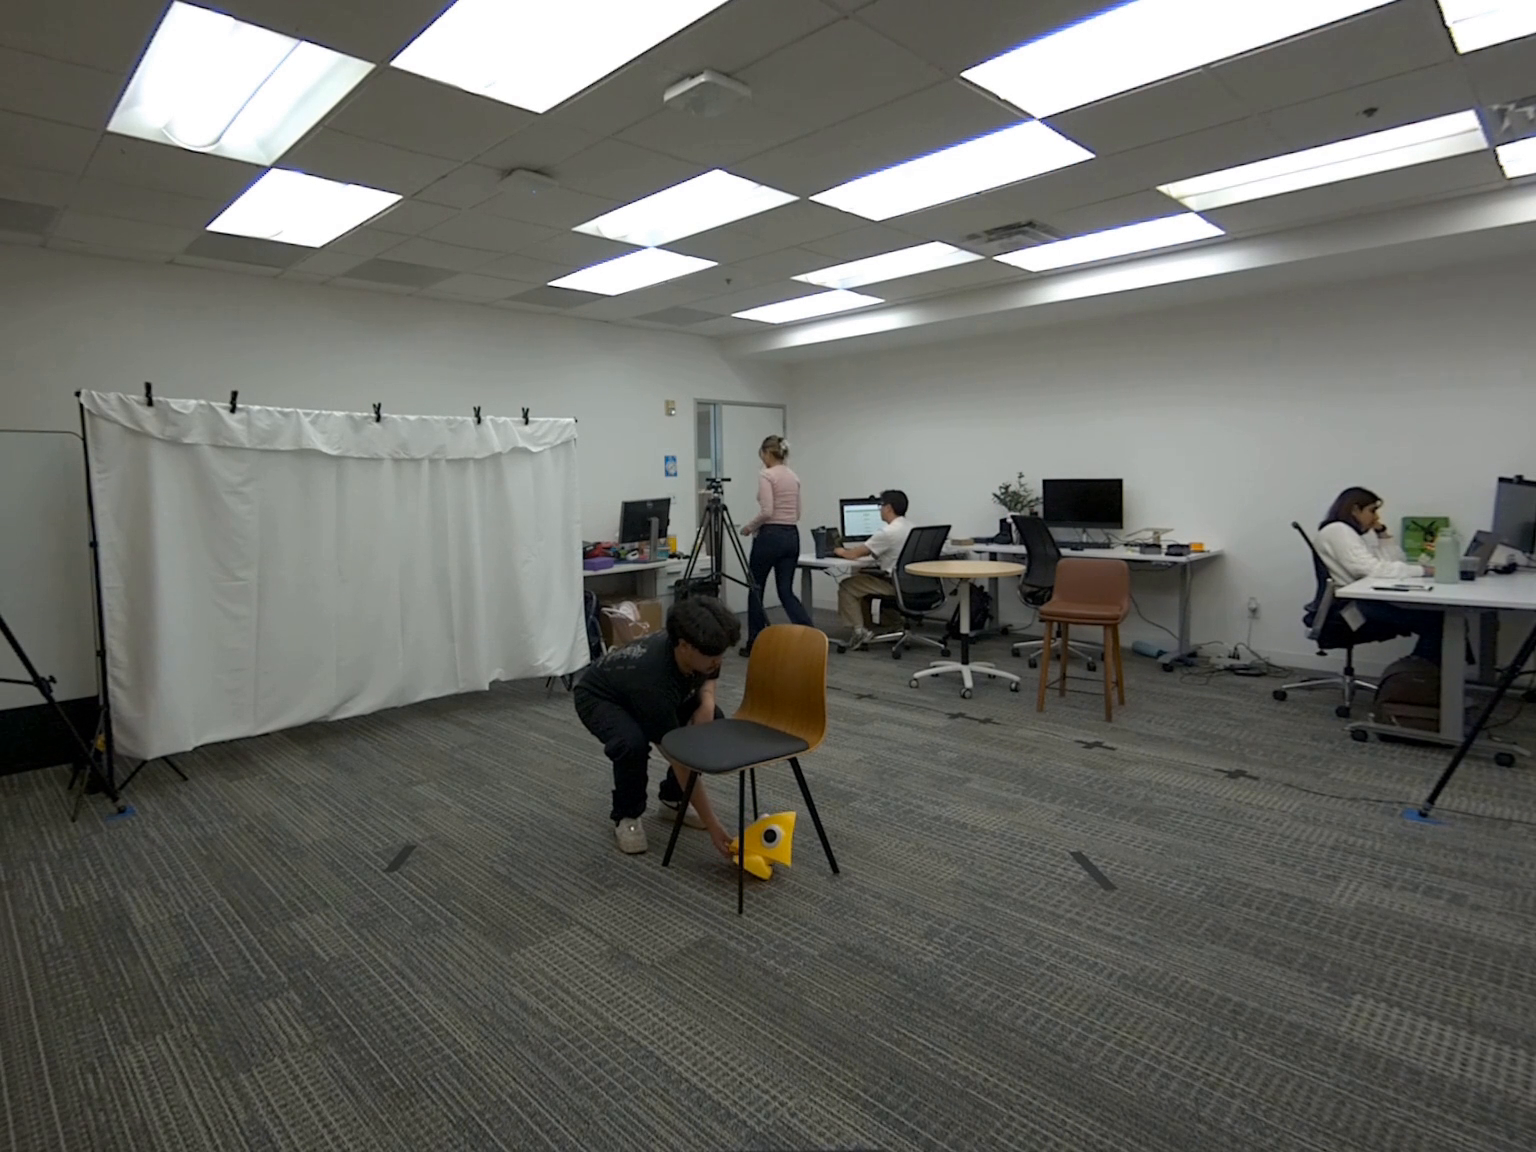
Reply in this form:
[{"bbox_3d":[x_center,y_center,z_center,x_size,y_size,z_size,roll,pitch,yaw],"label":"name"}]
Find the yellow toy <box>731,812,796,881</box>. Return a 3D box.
[{"bbox_3d":[-0.009,0.919,3.034,0.189,0.231,0.208,29,-2,-15],"label":"yellow toy"}]
